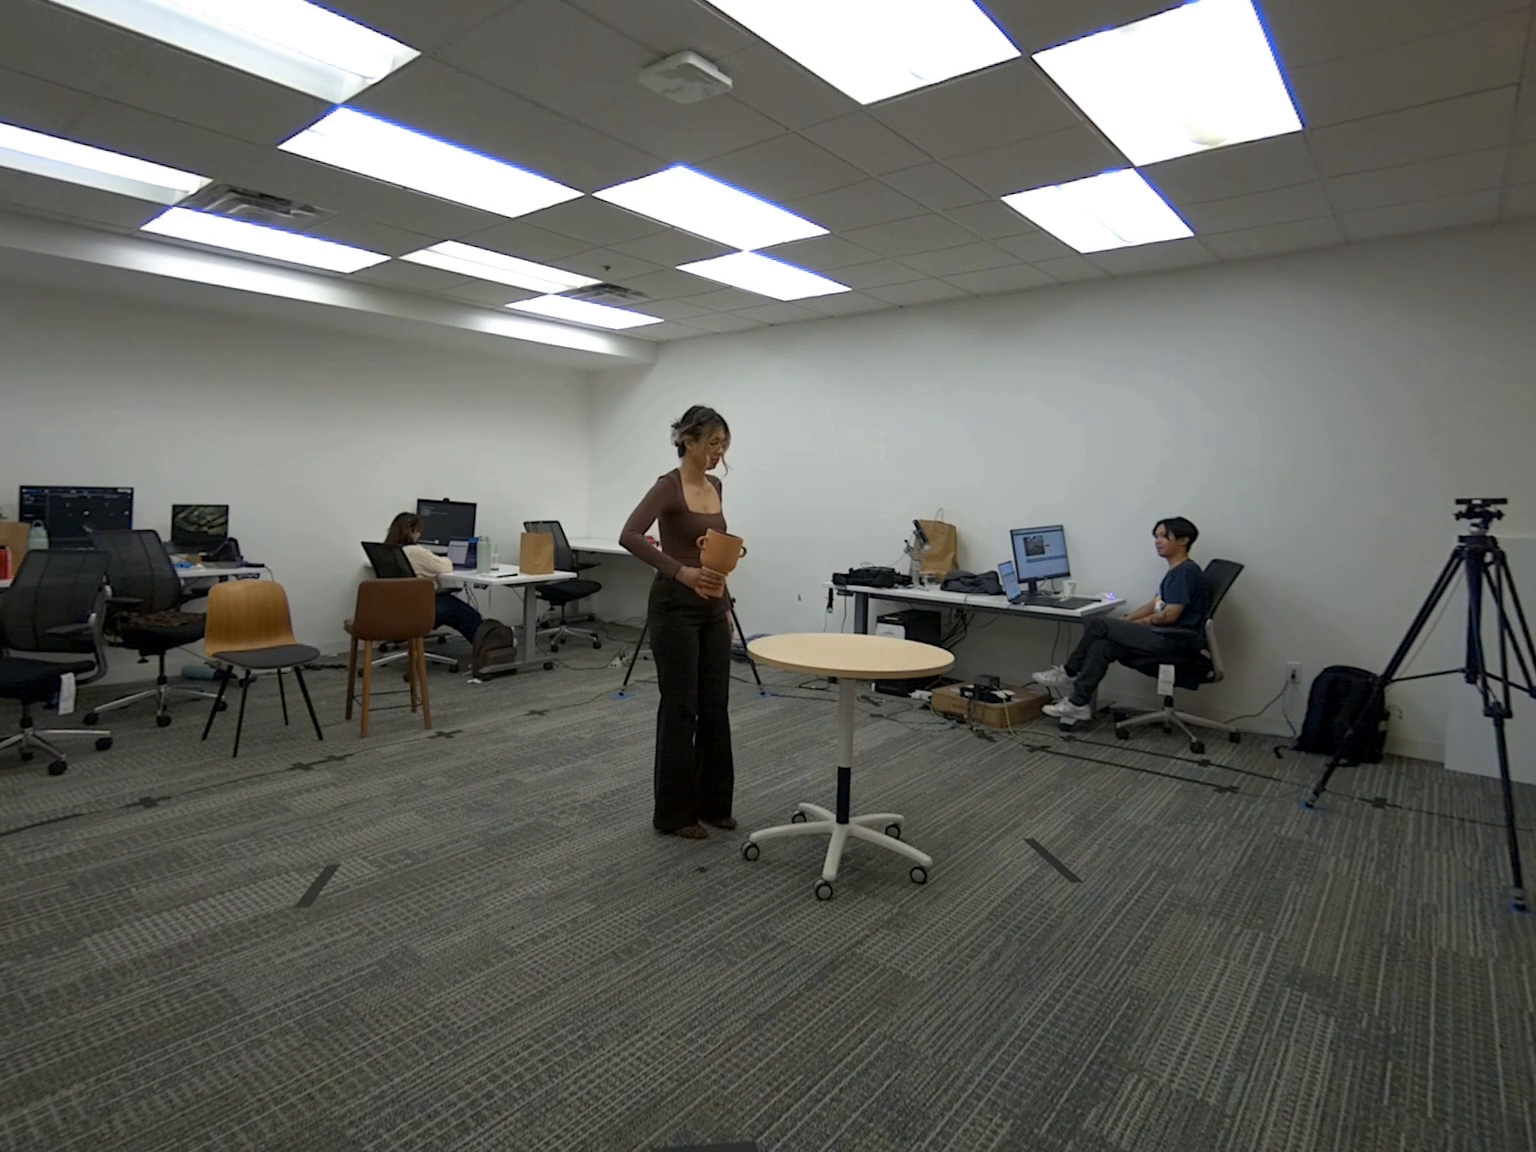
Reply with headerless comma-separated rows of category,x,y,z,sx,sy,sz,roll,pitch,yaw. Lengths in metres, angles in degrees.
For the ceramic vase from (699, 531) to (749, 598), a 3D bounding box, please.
ceramic vase,-0.192,-0.050,3.022,0.162,0.219,0.133,17,5,13
